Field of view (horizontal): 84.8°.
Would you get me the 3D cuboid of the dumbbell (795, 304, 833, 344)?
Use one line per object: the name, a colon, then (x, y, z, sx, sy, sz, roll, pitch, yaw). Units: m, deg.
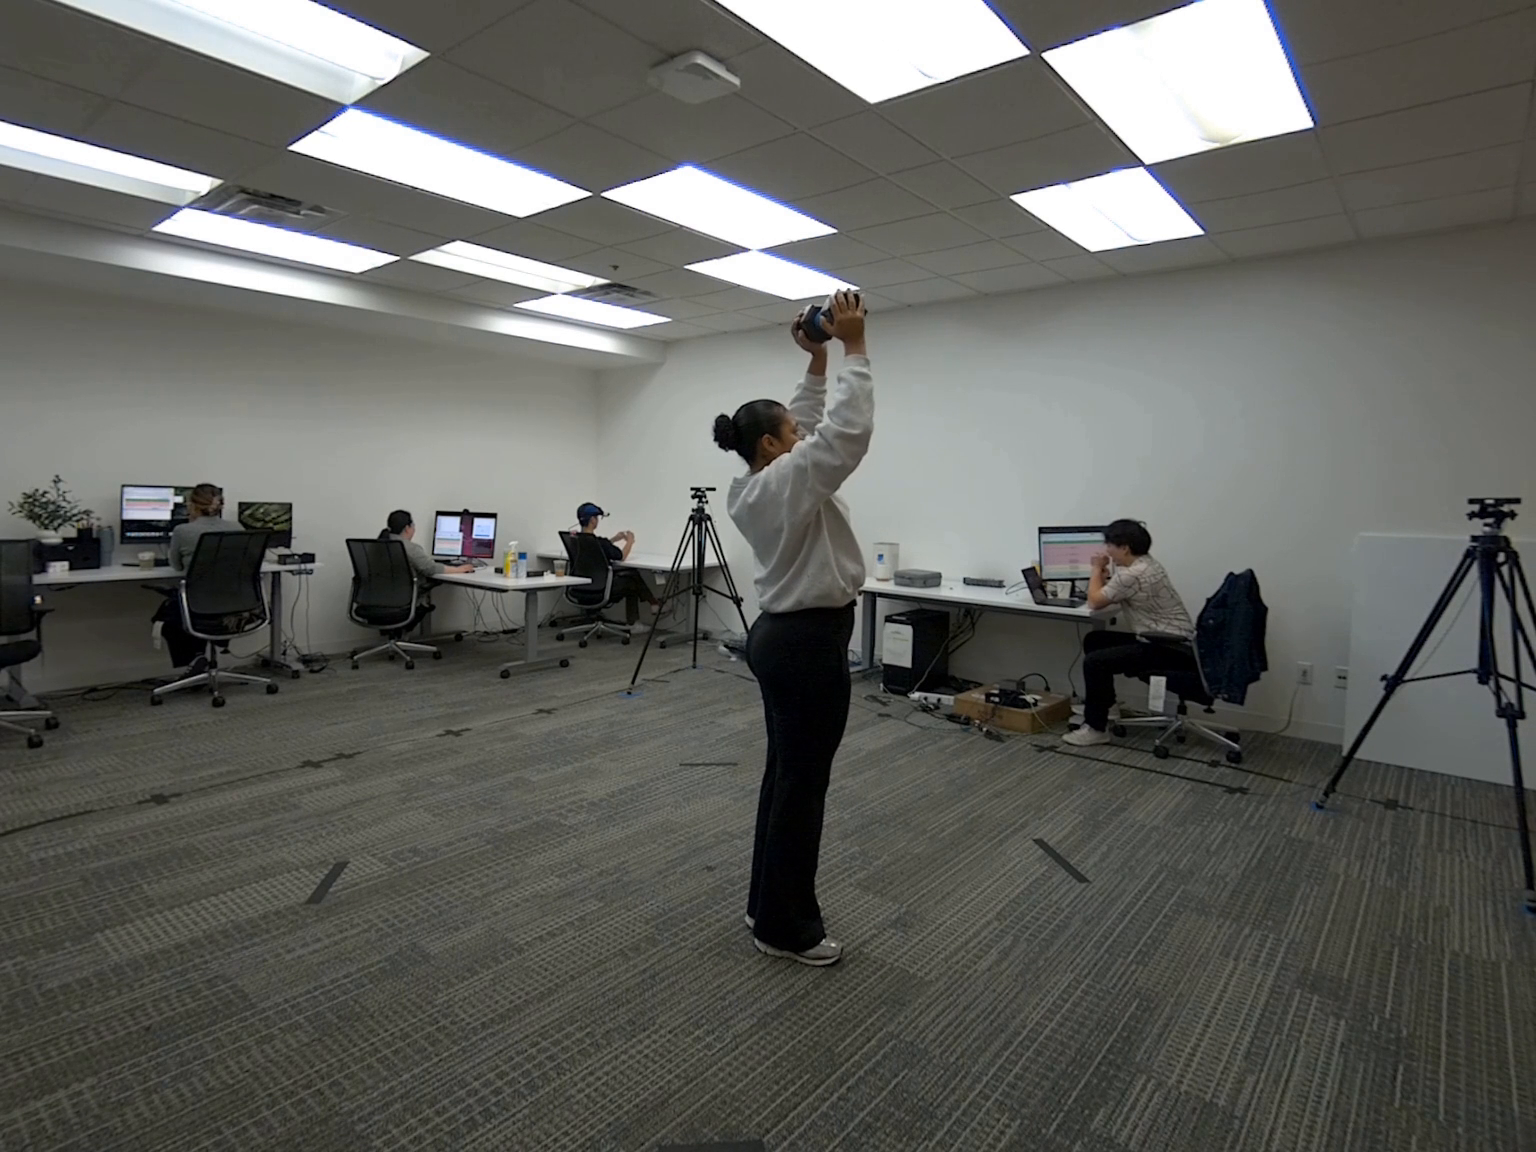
dumbbell: (0.173, -0.765, 2.514, 0.106, 0.123, 0.299, 33, -2, -16)
